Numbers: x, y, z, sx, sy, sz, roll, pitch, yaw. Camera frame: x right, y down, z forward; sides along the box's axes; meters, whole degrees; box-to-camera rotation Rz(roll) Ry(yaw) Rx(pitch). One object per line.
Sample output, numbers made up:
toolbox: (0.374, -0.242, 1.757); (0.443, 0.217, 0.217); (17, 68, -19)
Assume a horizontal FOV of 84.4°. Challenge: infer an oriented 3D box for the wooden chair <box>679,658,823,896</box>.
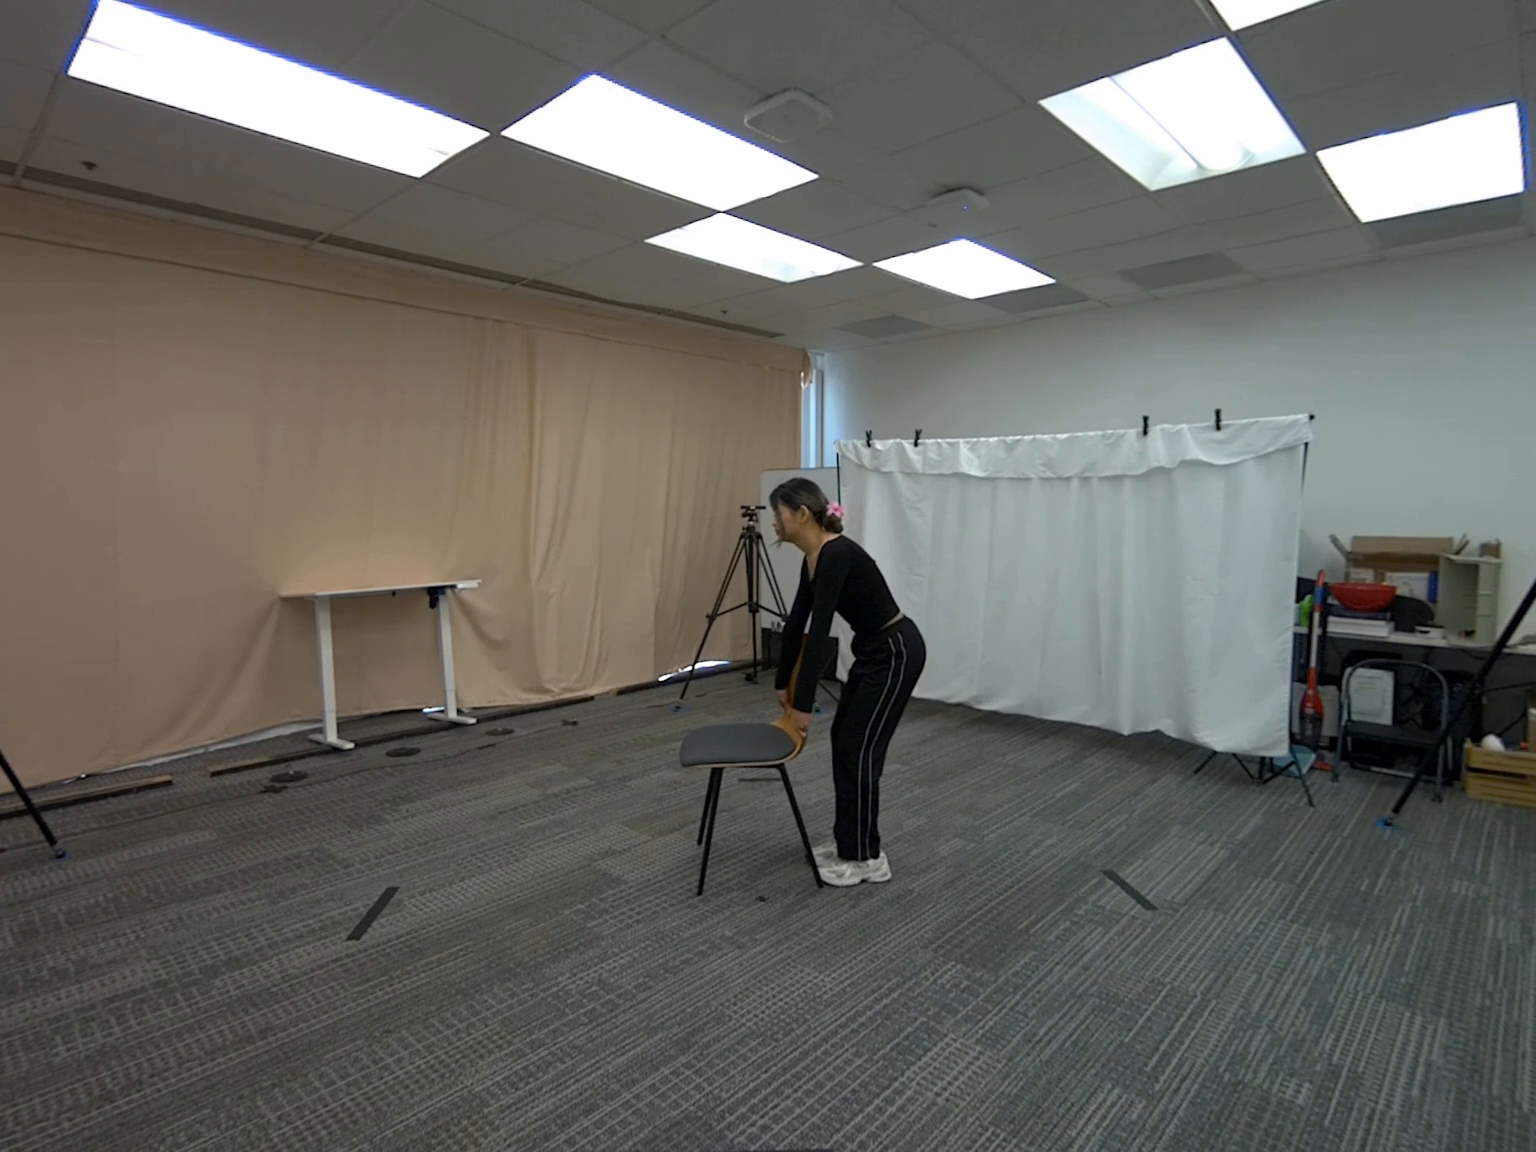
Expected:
wooden chair: (-0.072, 0.685, 3.203); (0.521, 0.875, 0.481); (2, 5, -4)
